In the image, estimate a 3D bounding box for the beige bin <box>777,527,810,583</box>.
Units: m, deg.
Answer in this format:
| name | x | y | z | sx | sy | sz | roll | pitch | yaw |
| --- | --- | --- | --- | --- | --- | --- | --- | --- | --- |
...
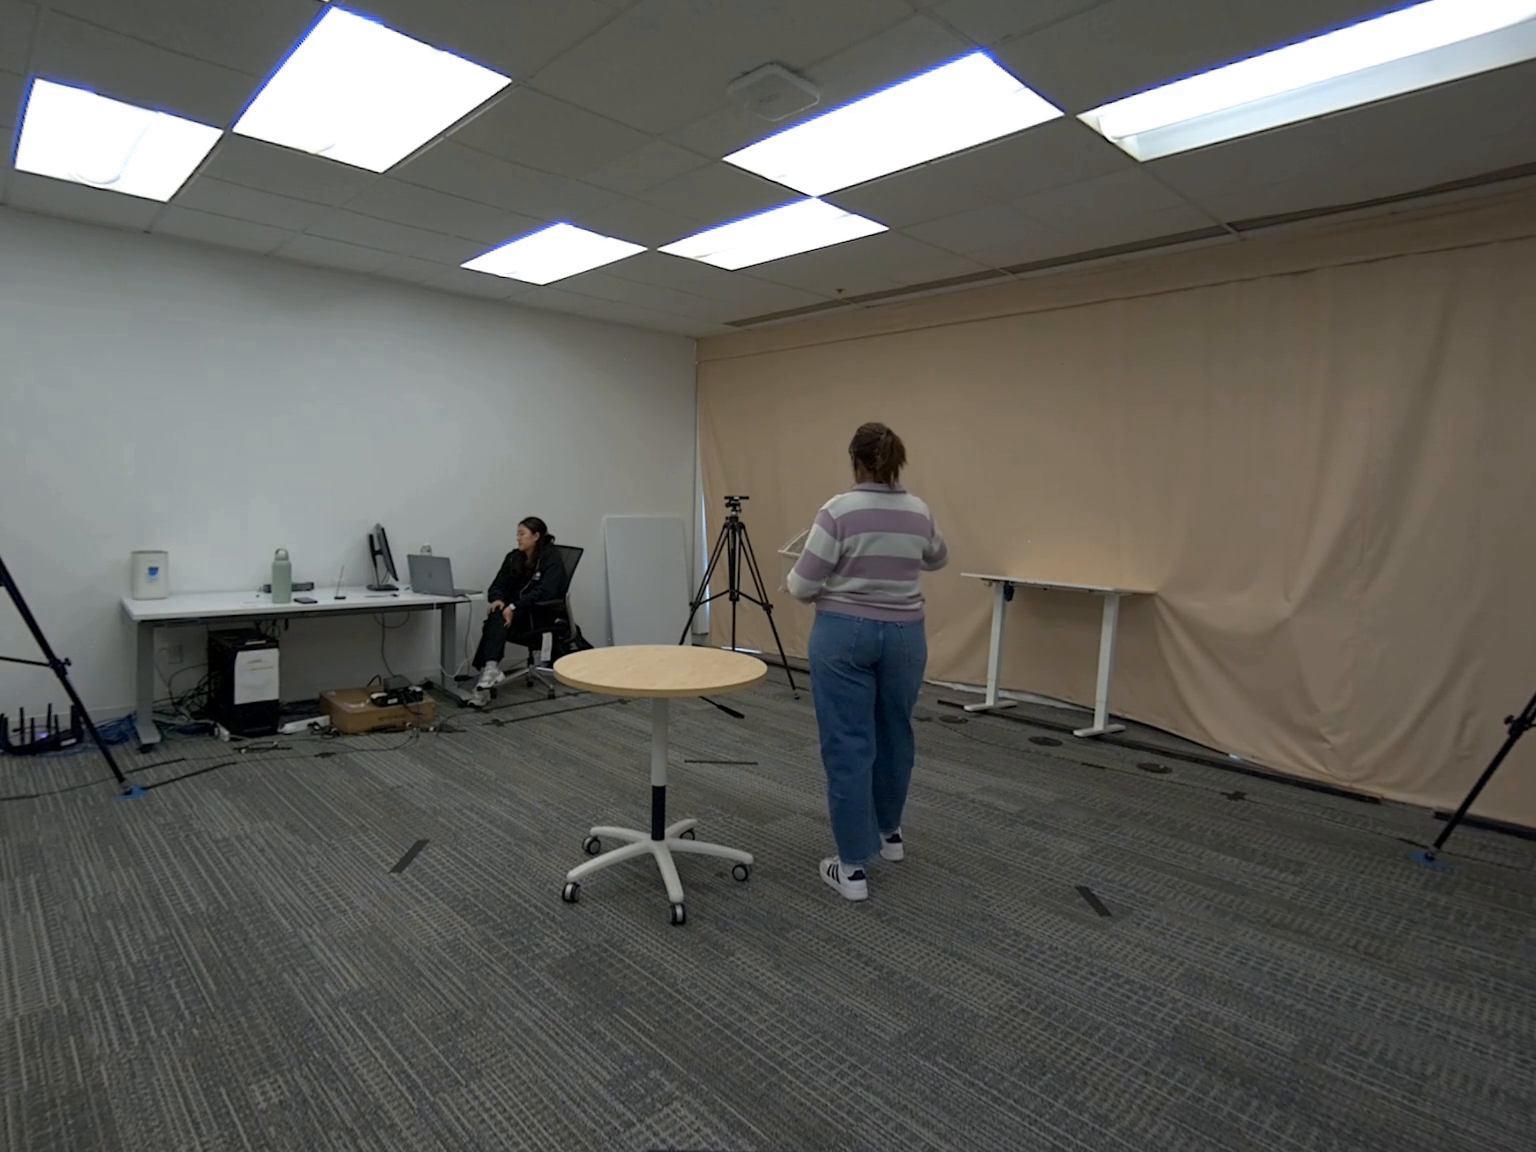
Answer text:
| name | x | y | z | sx | sy | sz | roll | pitch | yaw |
| --- | --- | --- | --- | --- | --- | --- | --- | --- | --- |
| beige bin | 0.303 | -0.035 | 3.438 | 0.430 | 0.186 | 0.376 | 12 | 25 | 20 |
